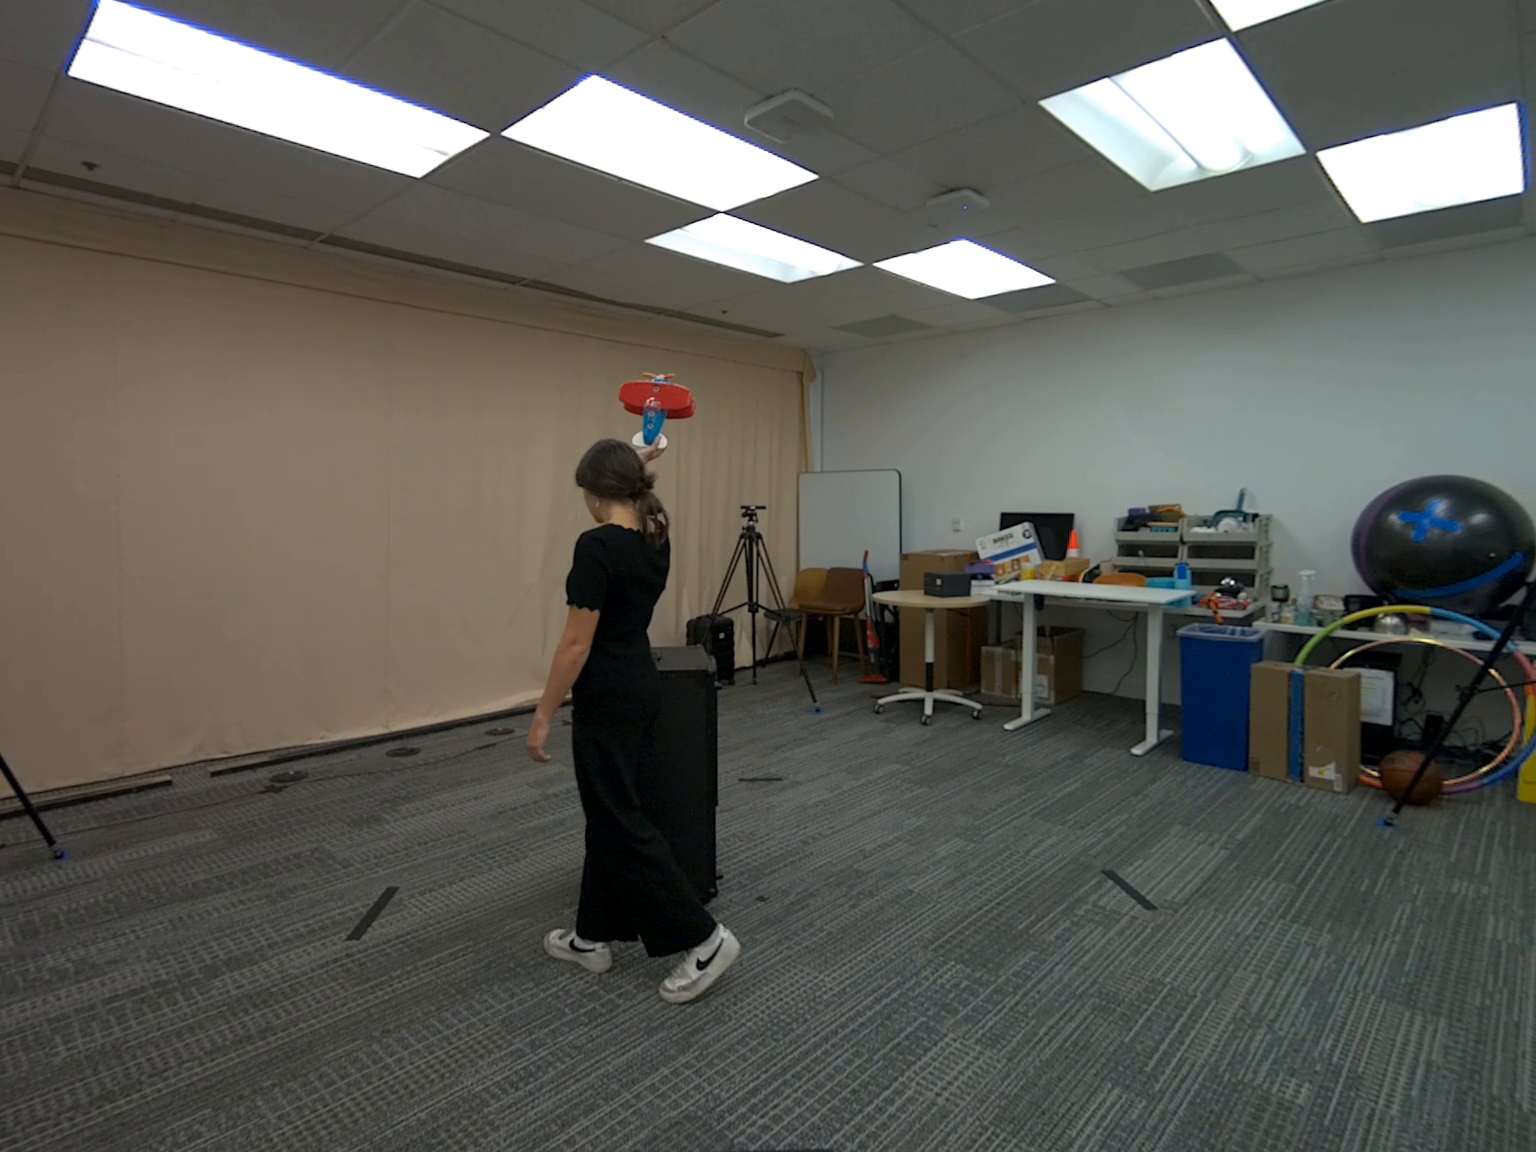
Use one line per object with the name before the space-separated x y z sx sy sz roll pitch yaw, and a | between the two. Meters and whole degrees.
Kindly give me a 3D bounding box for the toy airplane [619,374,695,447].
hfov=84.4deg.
toy airplane | -0.361 -0.566 2.910 0.250 0.265 0.153 -18 -27 -5
